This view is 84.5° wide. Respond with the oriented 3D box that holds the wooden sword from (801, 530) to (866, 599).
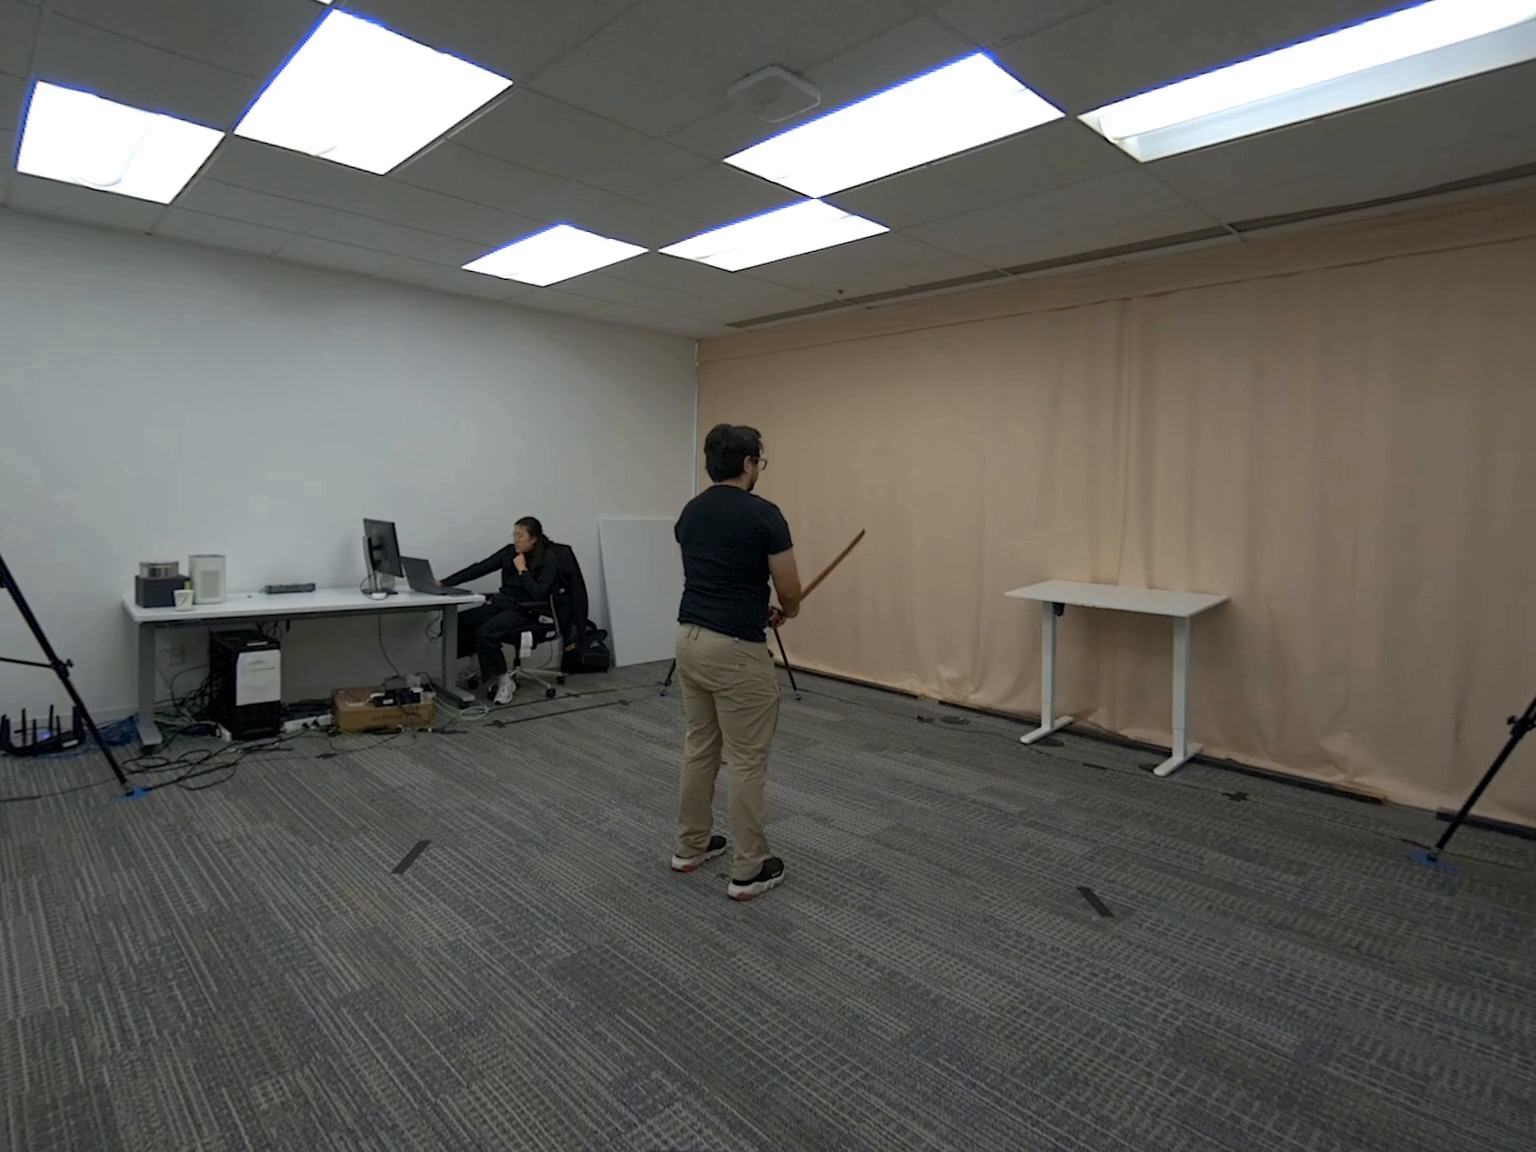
[{"bbox_3d":[0.250,-0.002,3.611,0.024,0.051,1.022,33,35,8],"label":"wooden sword"}]
